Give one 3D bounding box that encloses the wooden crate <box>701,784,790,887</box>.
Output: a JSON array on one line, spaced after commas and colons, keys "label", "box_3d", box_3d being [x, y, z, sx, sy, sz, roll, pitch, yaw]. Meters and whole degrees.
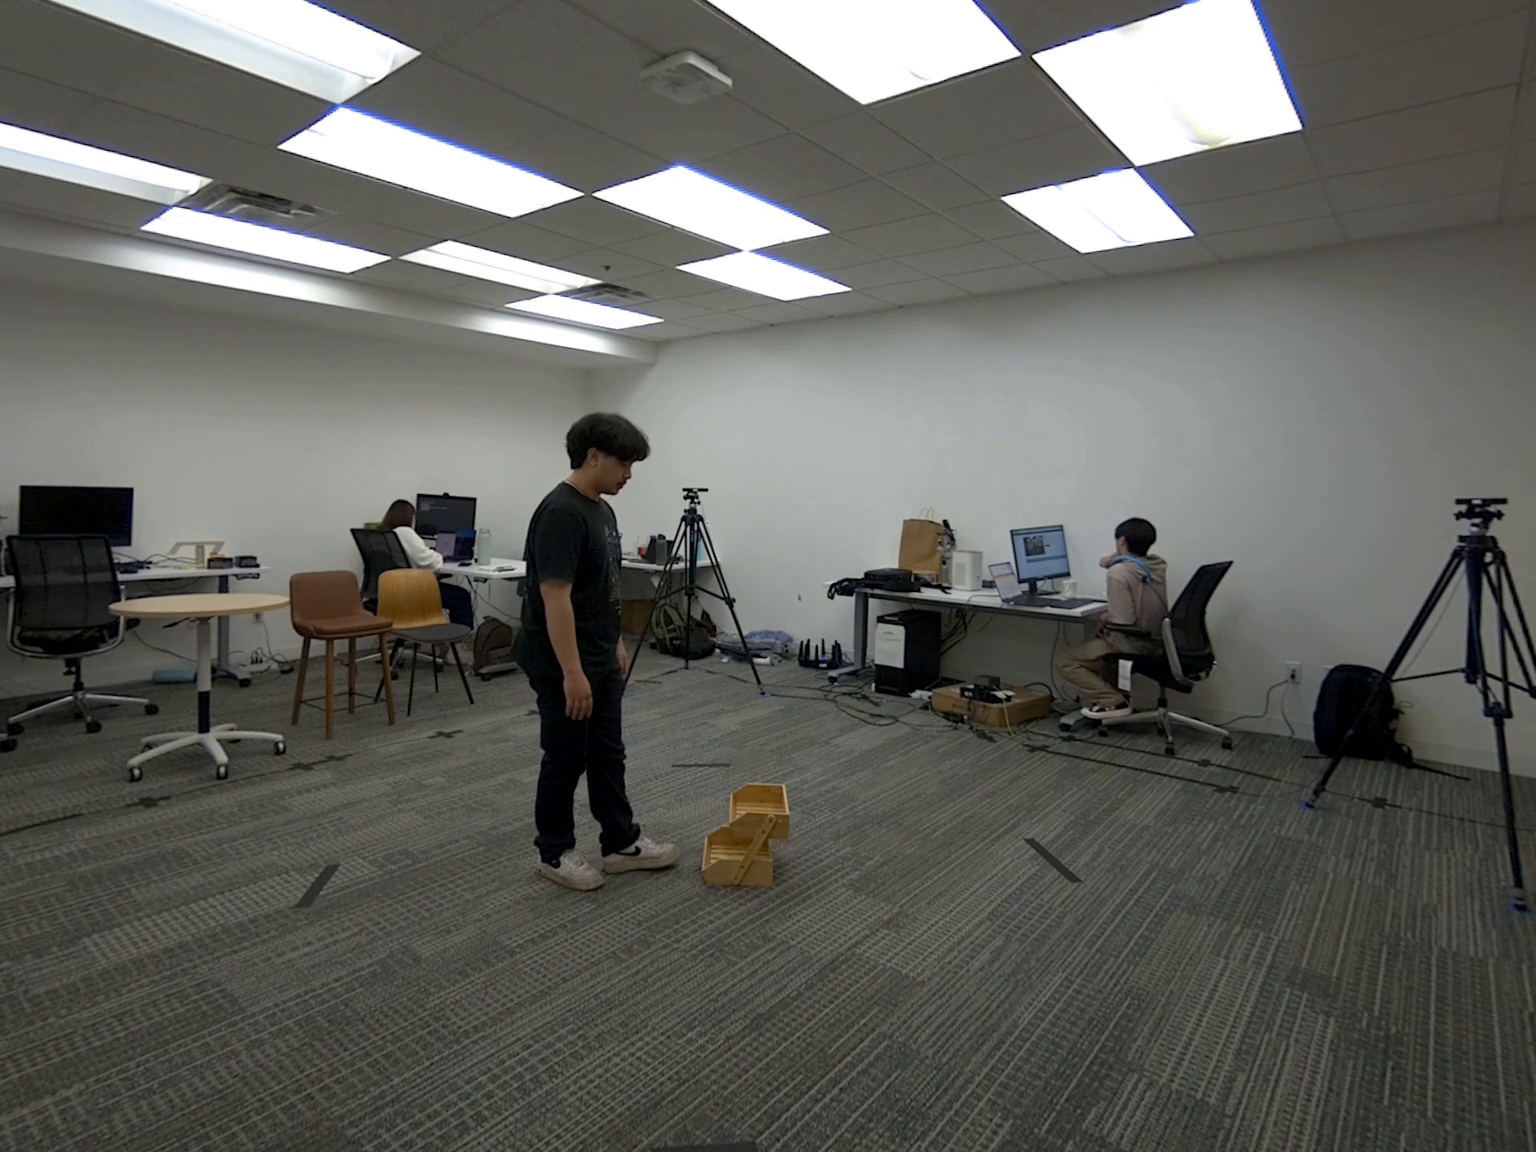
[{"label": "wooden crate", "box_3d": [-0.097, 0.940, 3.127, 0.302, 0.272, 0.326, 2, 4, -1]}]
